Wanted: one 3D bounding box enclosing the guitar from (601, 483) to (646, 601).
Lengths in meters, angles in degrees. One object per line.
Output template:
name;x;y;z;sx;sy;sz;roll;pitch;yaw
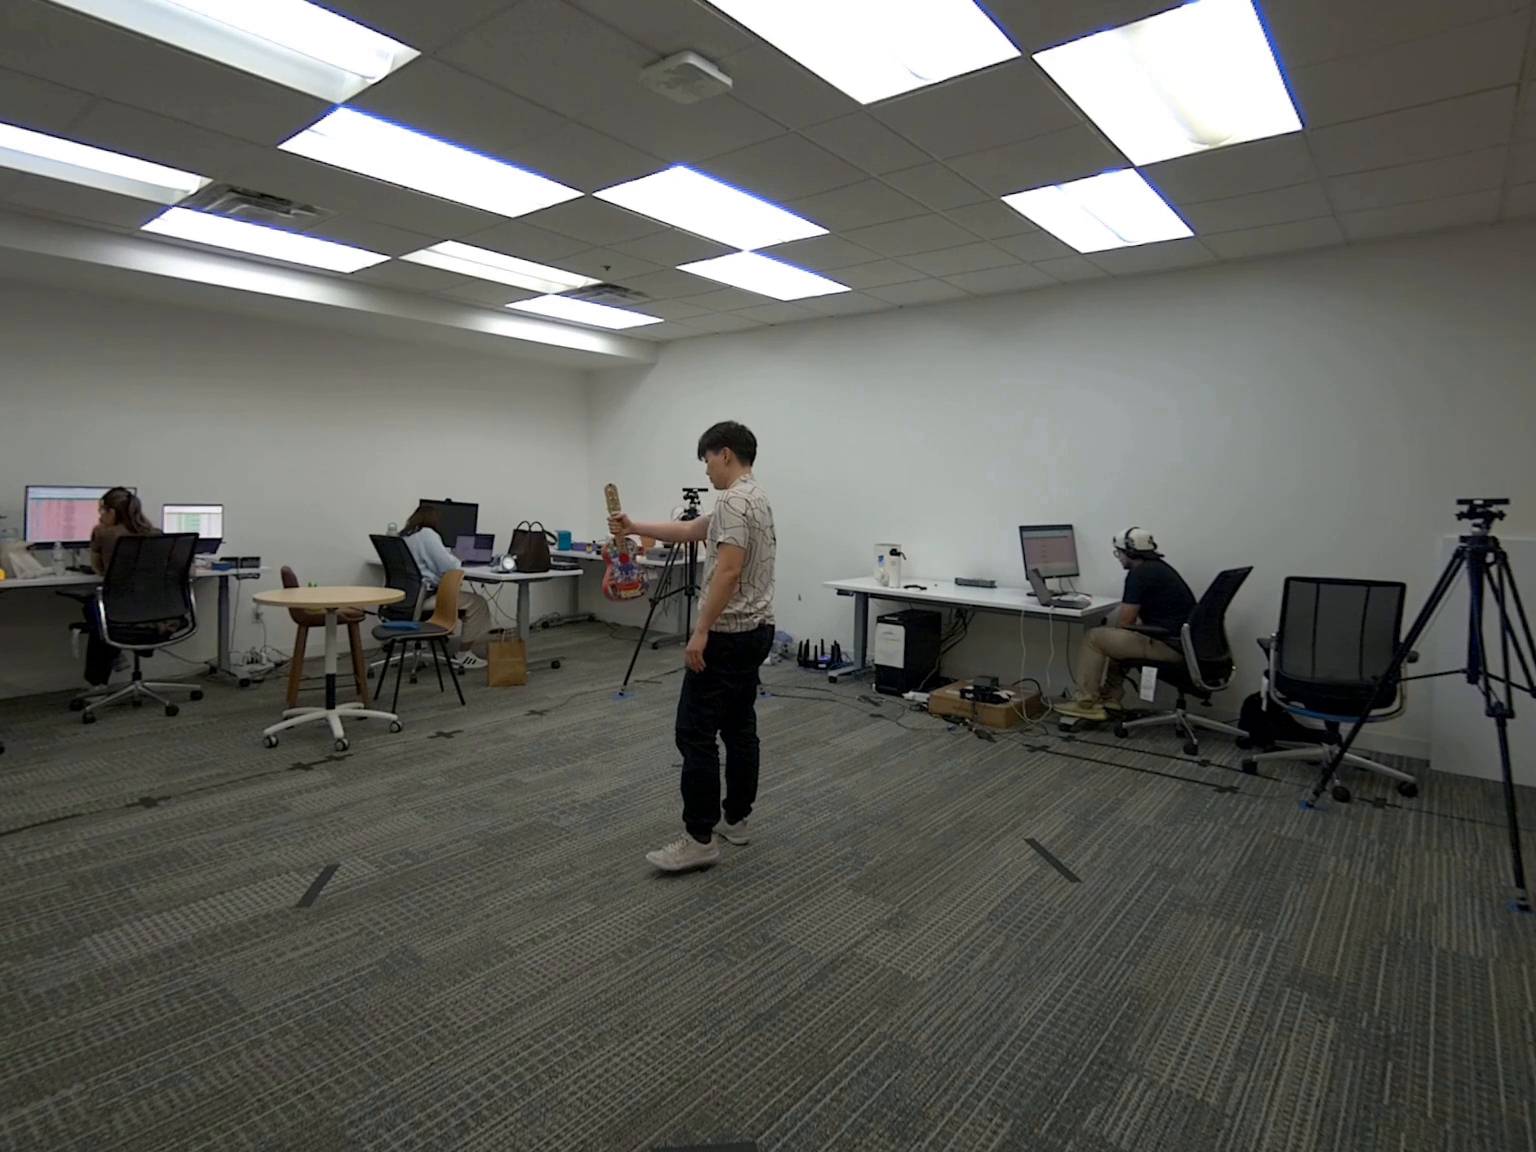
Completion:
guitar;-0.621;-0.143;3.636;0.188;0.502;0.072;-1;-9;-26
